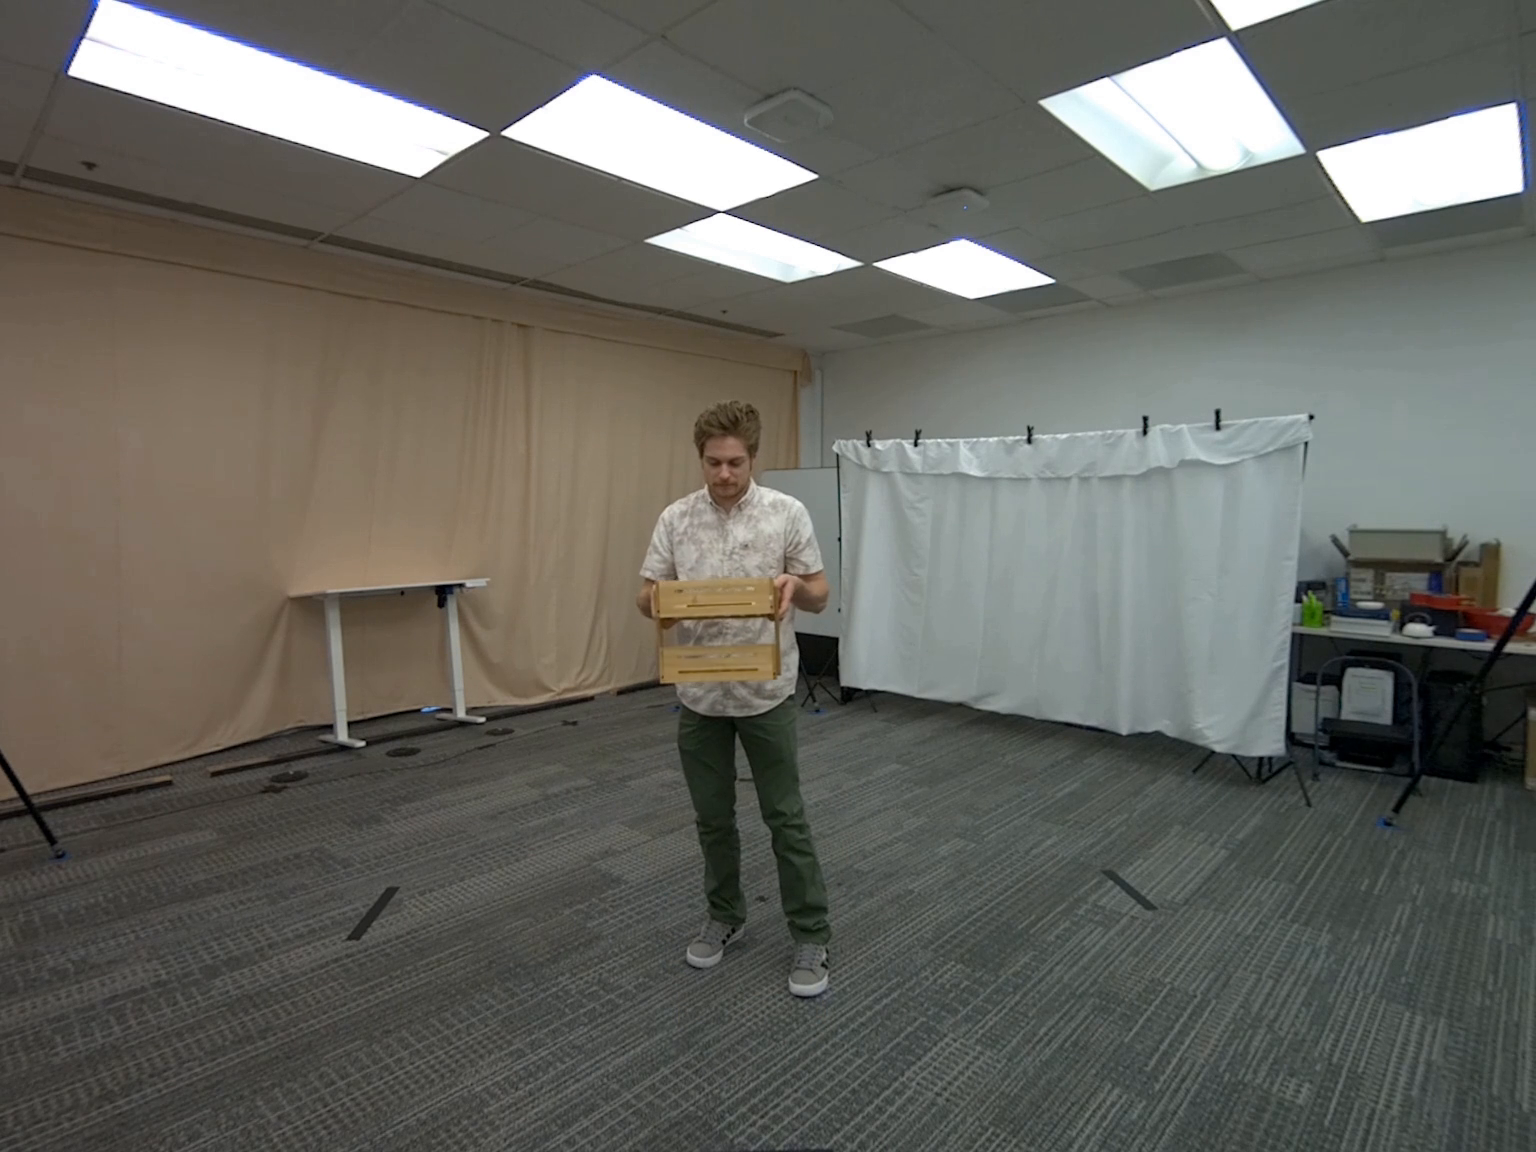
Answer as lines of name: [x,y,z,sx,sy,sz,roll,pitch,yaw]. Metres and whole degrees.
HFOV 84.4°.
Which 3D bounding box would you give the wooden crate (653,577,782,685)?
wooden crate: [-0.134,0.155,2.266,0.325,0.274,0.300,-2,-6,1]
